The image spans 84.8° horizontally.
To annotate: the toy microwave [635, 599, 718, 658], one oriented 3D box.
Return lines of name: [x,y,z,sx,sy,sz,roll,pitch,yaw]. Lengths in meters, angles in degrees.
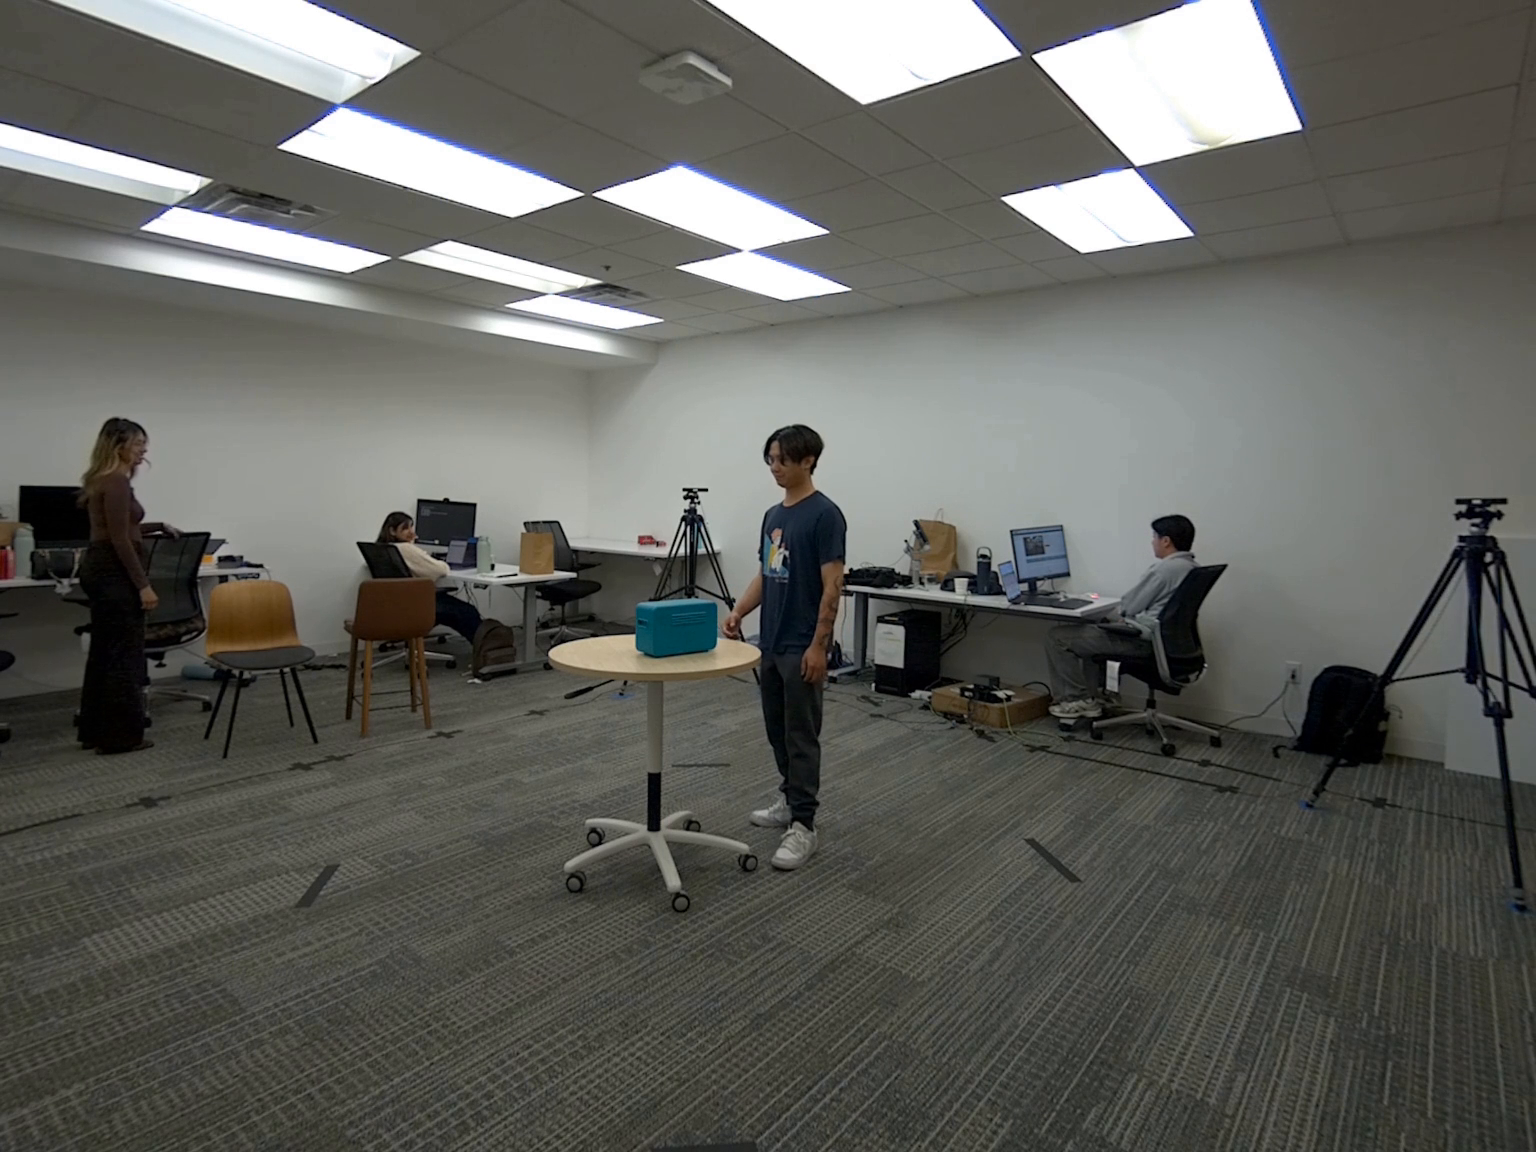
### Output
toy microwave: [-0.343,0.181,3.065,0.278,0.183,0.157,-3,5,-38]
